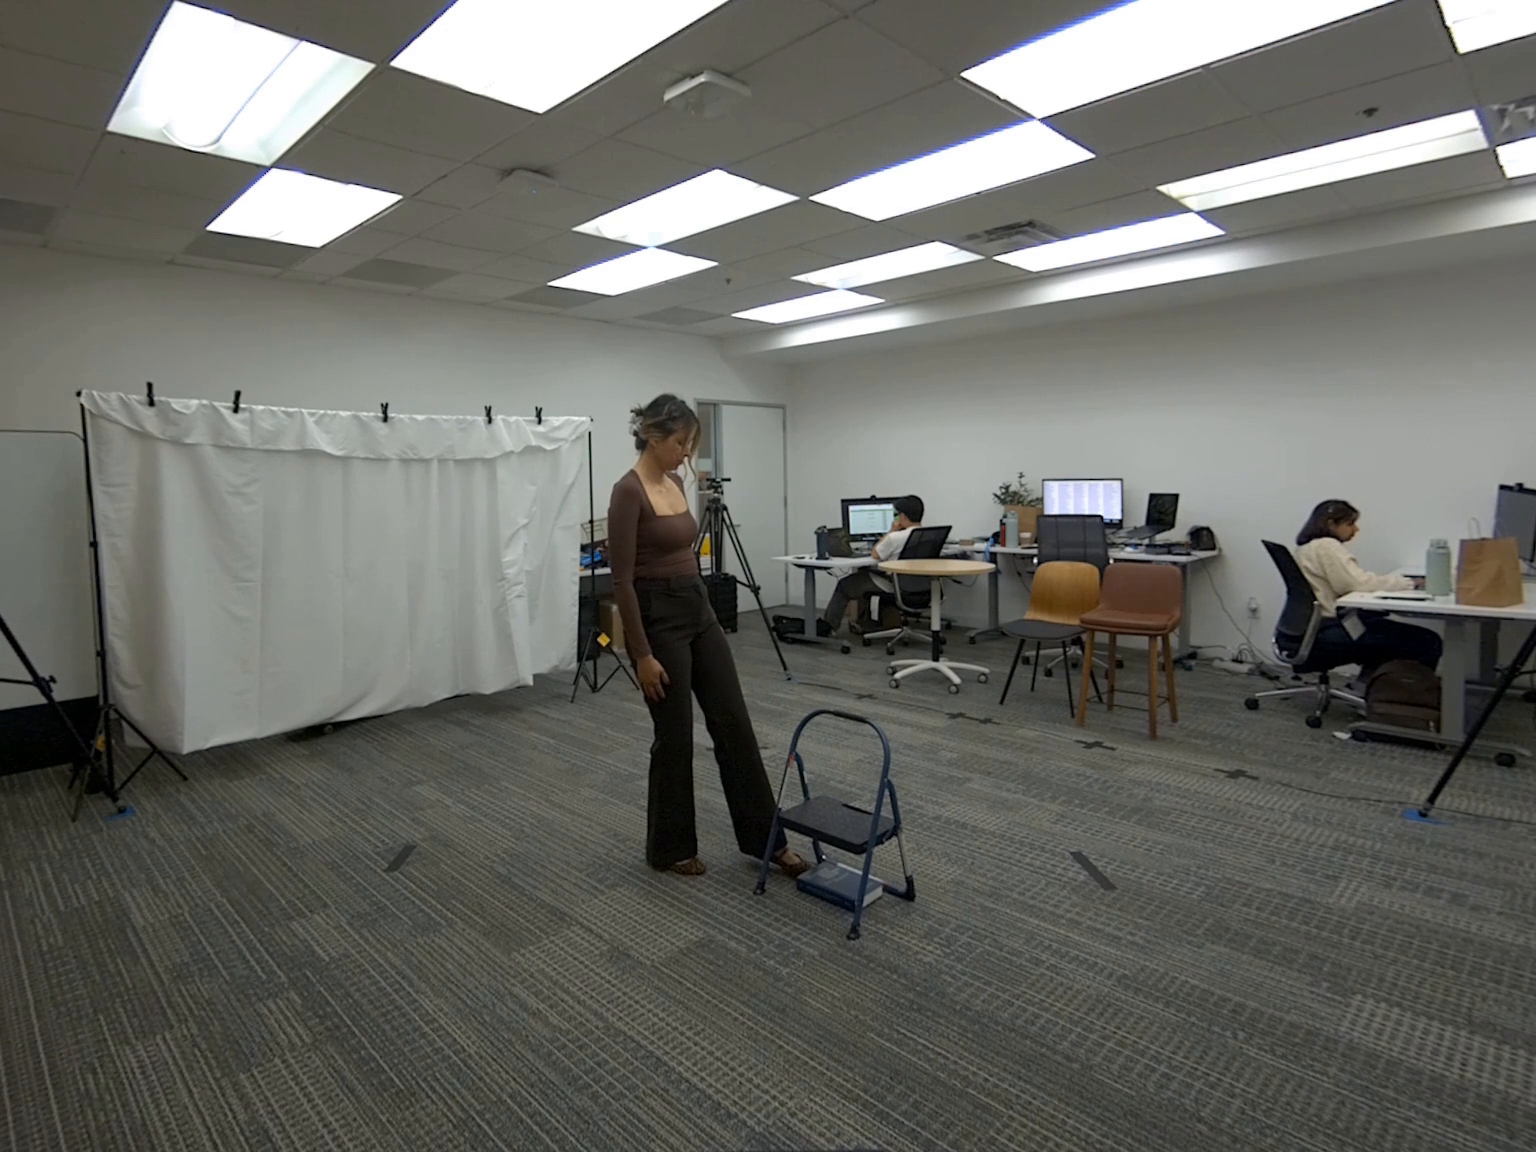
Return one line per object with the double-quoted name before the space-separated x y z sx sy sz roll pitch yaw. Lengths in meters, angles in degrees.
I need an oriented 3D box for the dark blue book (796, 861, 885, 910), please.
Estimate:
"dark blue book" 0.241 1.035 2.865 0.252 0.045 0.159 4 8 42
